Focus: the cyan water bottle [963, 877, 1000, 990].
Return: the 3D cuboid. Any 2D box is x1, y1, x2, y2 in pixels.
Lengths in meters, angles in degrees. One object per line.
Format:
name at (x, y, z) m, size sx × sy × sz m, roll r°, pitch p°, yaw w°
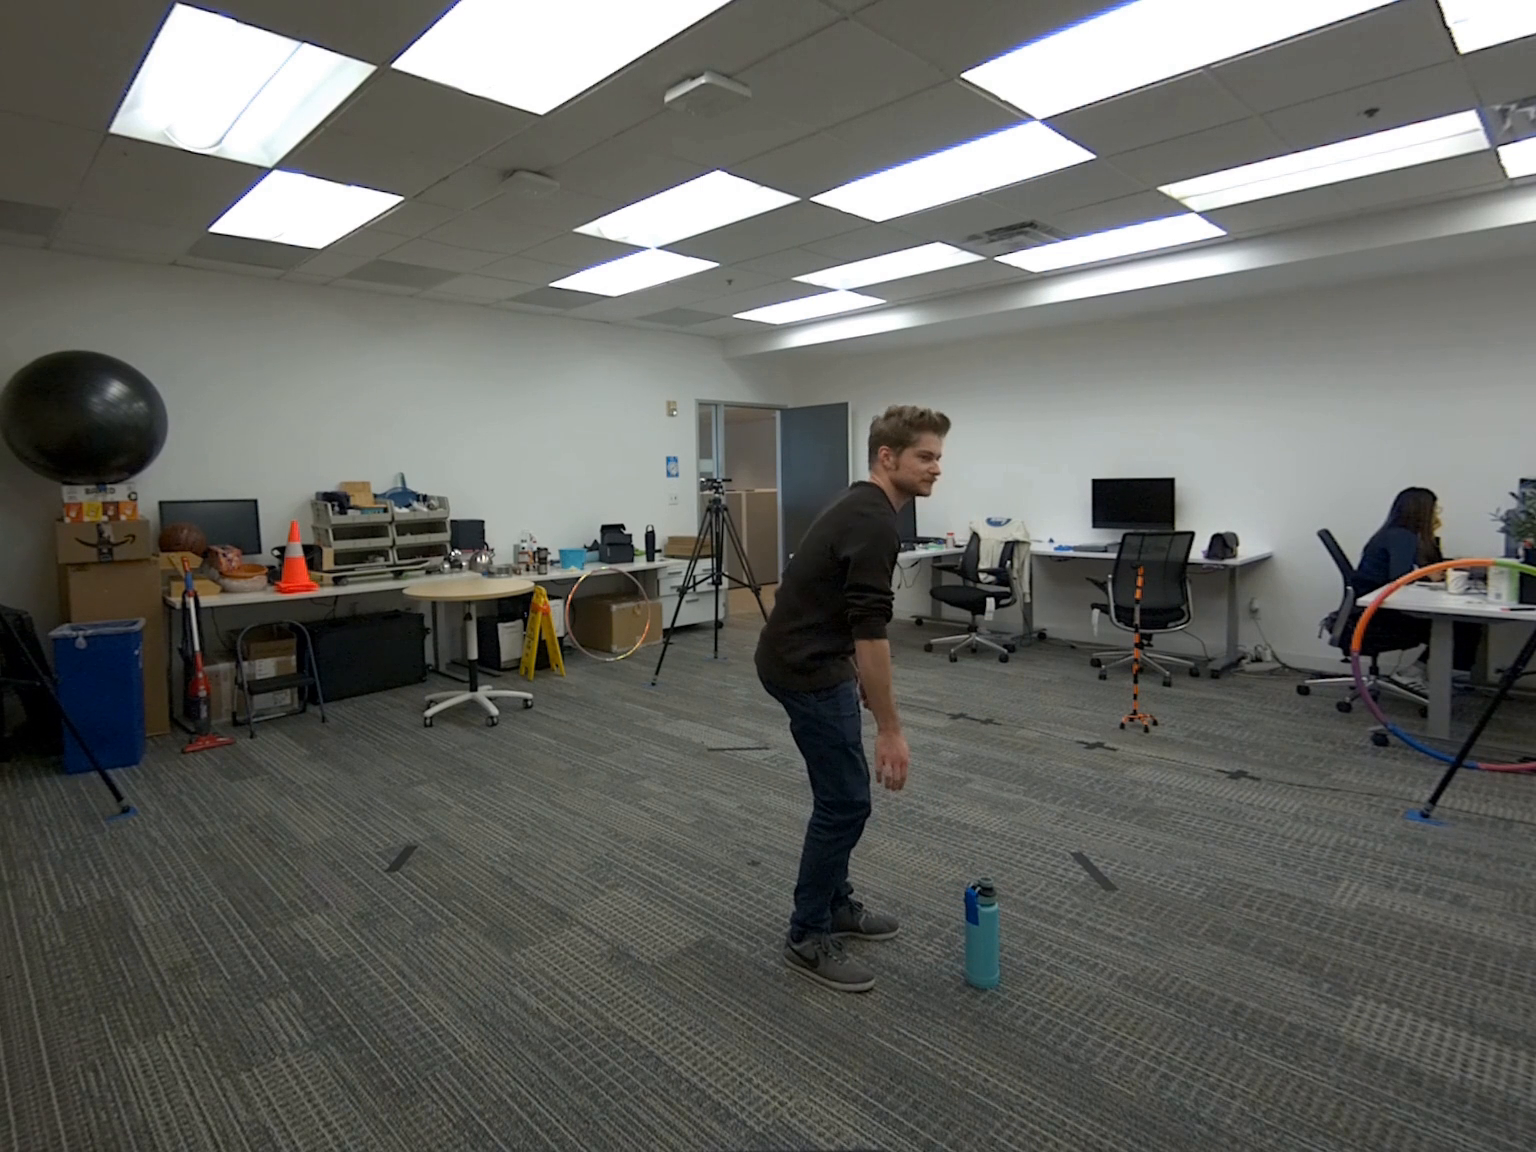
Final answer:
cyan water bottle at (0.591, 0.974, 2.354) m, size 0.092 × 0.282 × 0.093 m, roll -1°, pitch 4°, yaw -2°
